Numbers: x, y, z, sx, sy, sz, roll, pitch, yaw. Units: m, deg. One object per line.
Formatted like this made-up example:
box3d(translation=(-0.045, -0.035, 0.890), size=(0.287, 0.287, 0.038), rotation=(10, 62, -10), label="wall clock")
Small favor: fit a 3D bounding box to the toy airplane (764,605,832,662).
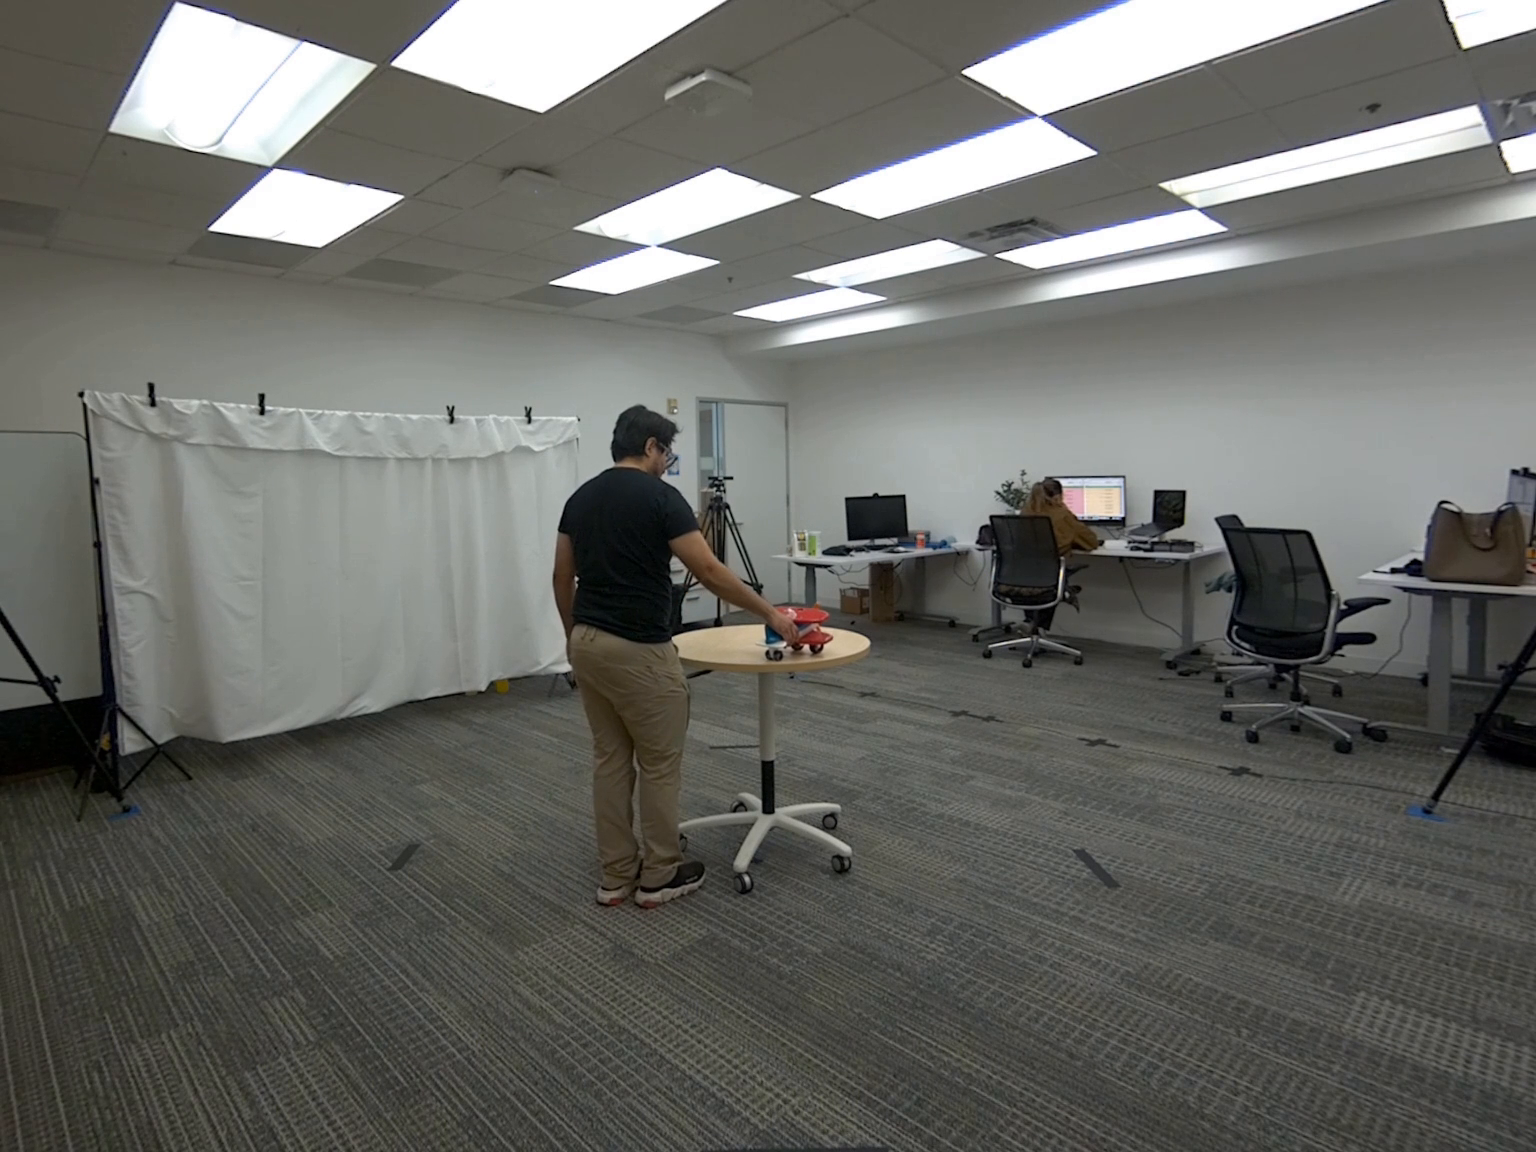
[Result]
box3d(translation=(0.097, 0.195, 2.893), size=(0.255, 0.156, 0.256), rotation=(0, 5, 14), label="toy airplane")
